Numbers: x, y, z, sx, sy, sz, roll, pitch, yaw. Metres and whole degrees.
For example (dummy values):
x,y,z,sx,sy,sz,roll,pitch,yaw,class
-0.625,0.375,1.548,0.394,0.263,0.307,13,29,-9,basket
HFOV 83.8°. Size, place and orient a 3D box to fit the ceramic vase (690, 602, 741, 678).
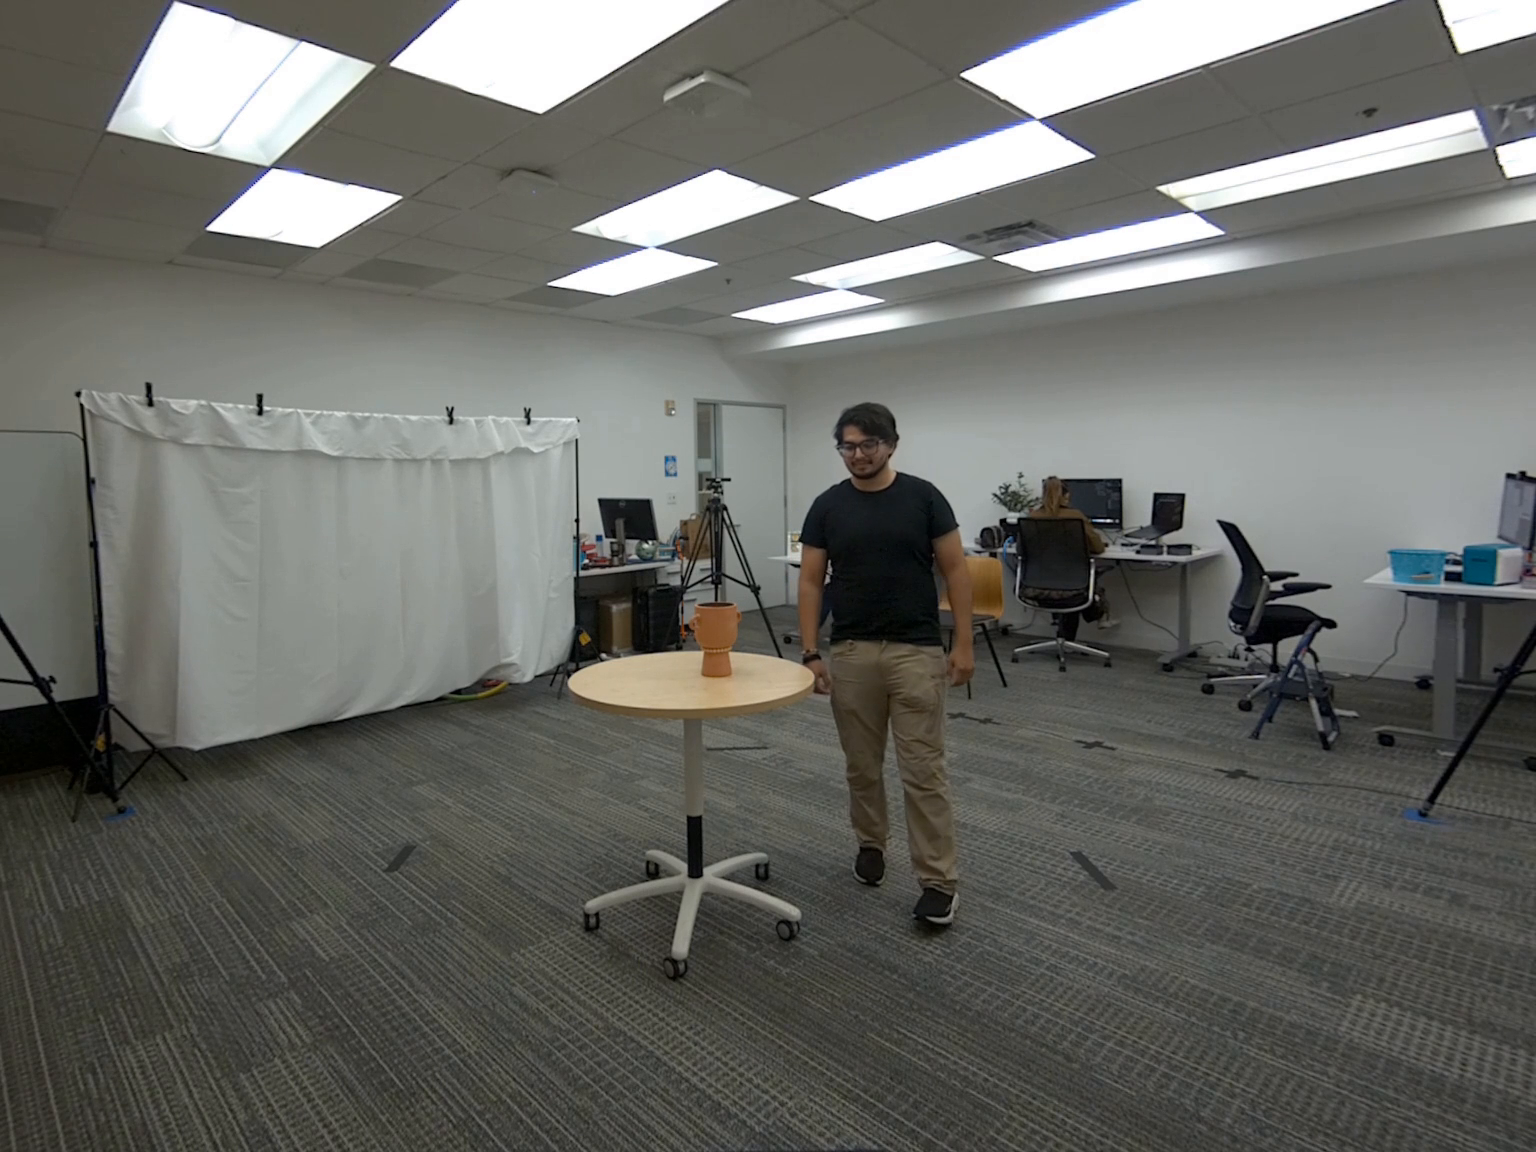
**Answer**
x,y,z,sx,sy,sz,roll,pitch,yaw,class
-0.152,0.201,2.688,0.159,0.218,0.135,0,7,0,ceramic vase
